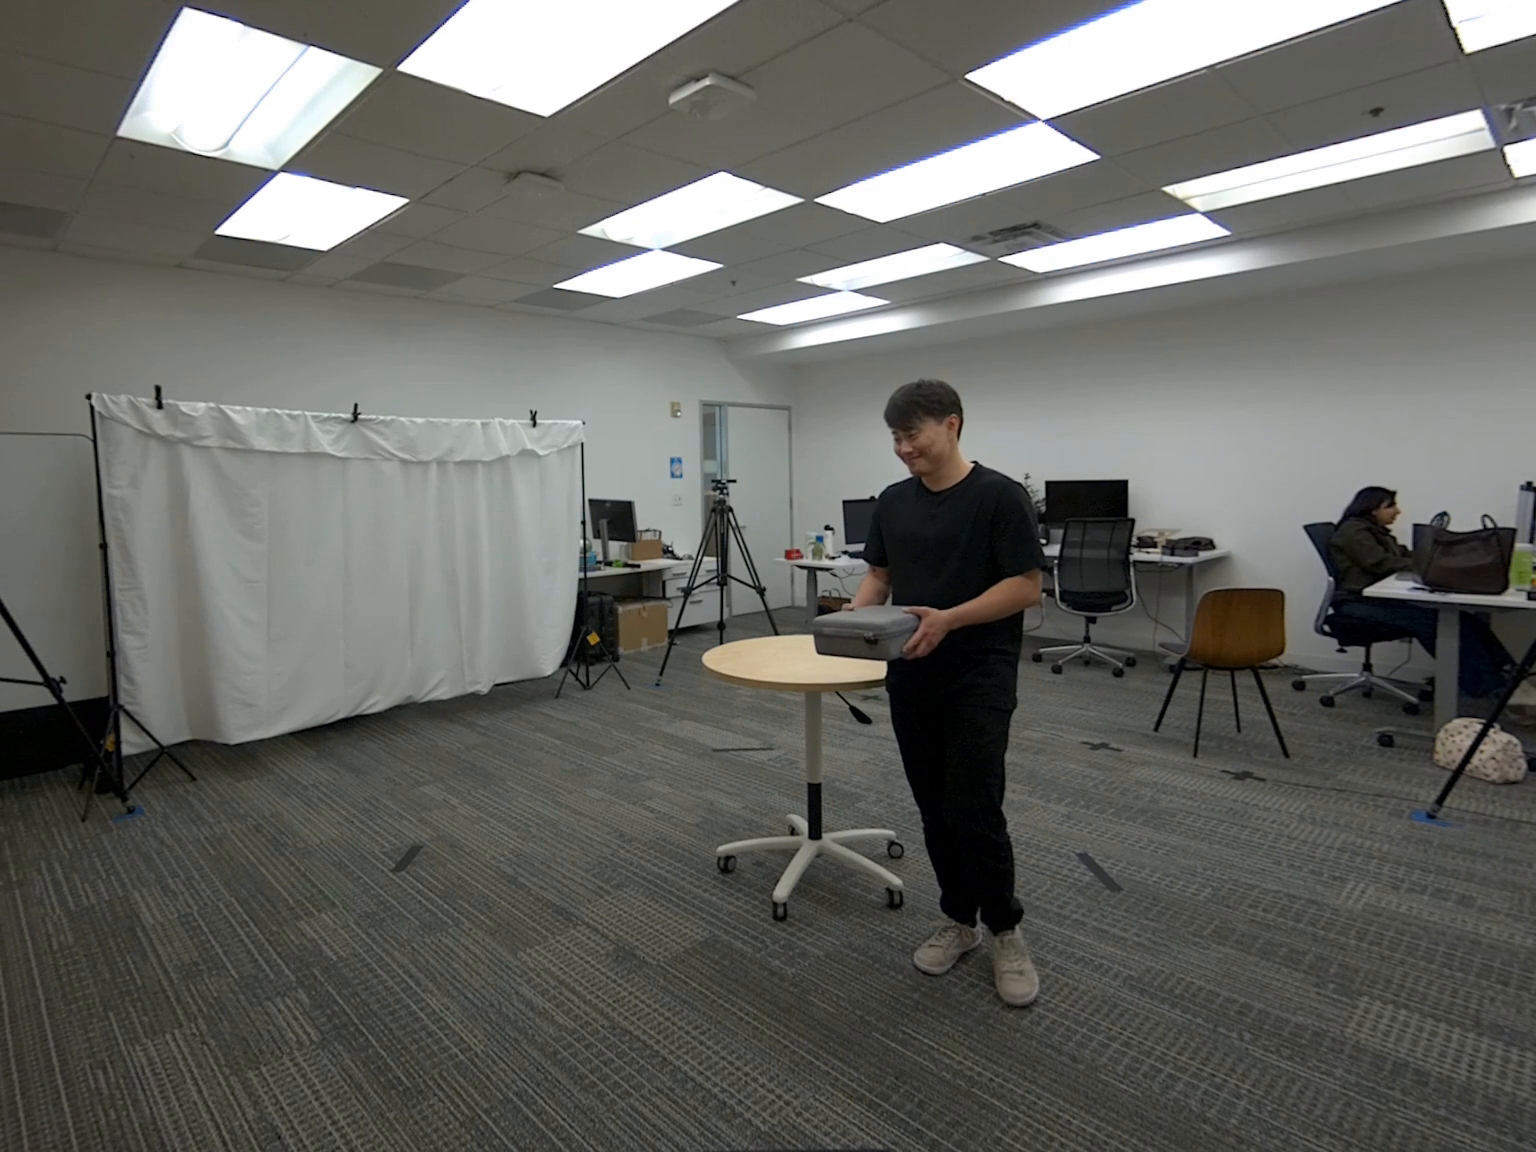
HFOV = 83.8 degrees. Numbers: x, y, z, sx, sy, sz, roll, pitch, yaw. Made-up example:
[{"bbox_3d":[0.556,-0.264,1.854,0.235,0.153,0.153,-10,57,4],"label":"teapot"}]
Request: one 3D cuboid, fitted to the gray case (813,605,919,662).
[{"bbox_3d":[0.295,0.151,2.248,0.254,0.104,0.264,-11,8,-40],"label":"gray case"}]
